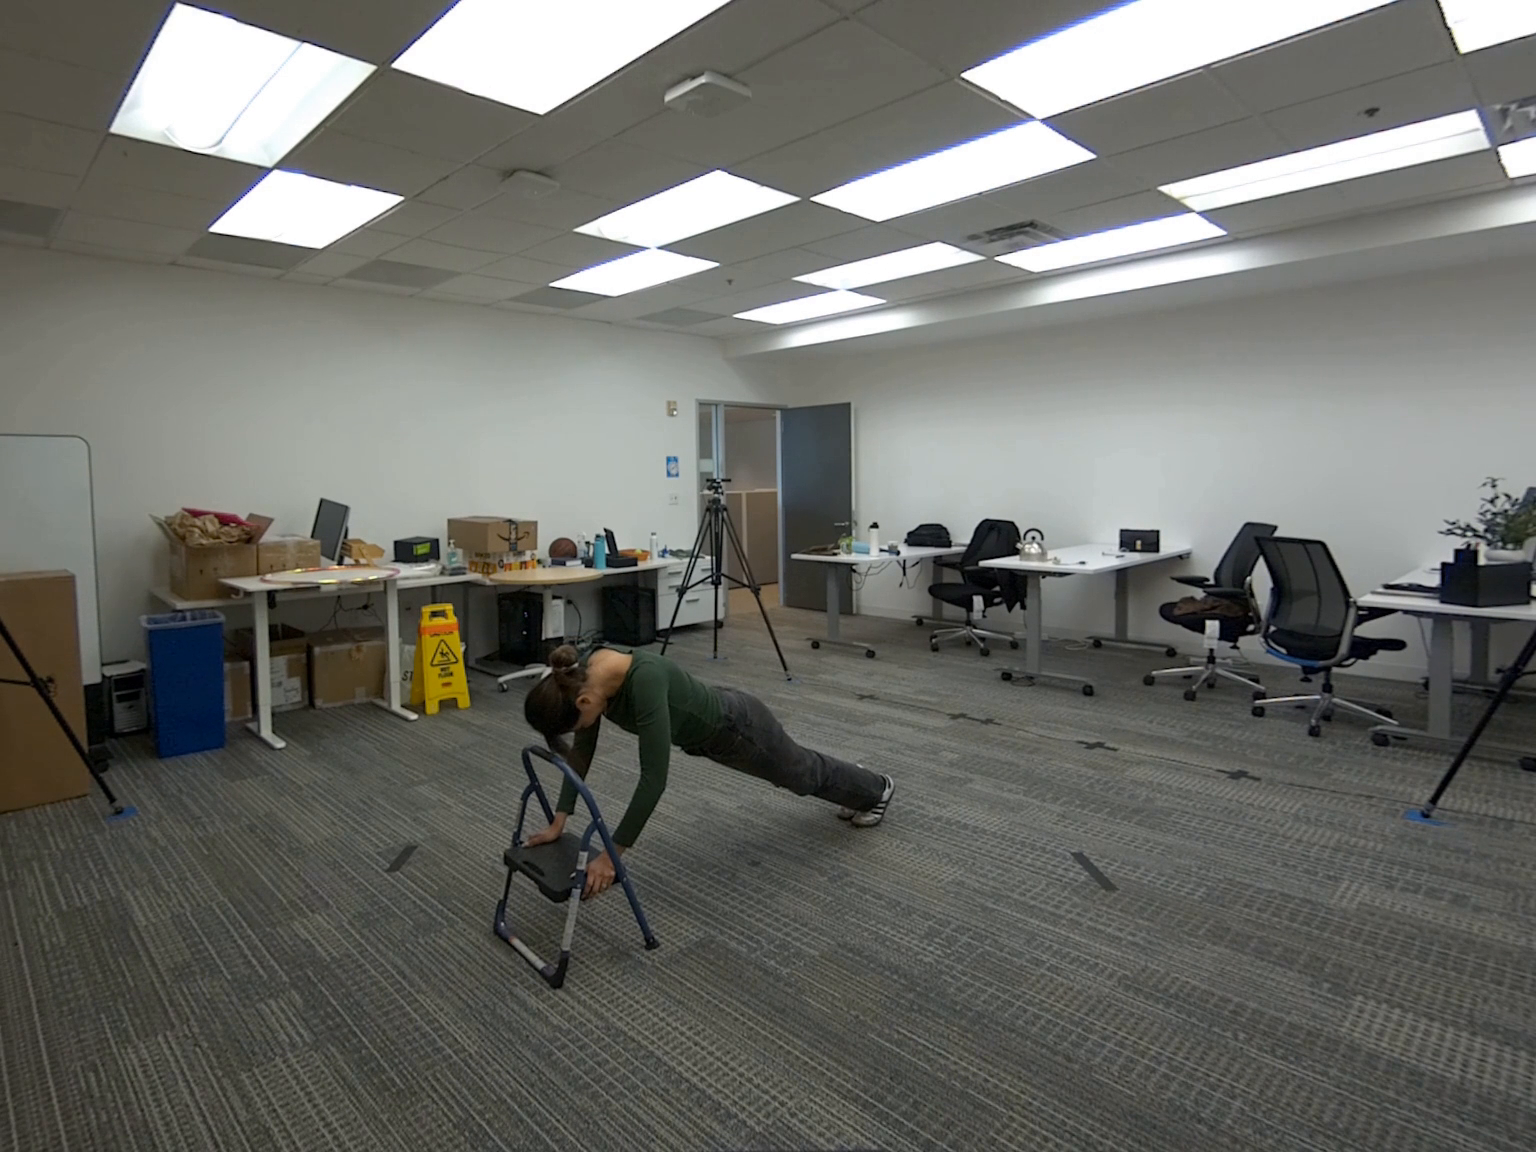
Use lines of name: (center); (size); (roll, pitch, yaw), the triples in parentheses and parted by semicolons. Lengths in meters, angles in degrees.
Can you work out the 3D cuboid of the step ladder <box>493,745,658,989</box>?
step ladder: (-0.600, 0.814, 2.603); (0.340, 0.604, 0.444); (-5, 6, -41)
